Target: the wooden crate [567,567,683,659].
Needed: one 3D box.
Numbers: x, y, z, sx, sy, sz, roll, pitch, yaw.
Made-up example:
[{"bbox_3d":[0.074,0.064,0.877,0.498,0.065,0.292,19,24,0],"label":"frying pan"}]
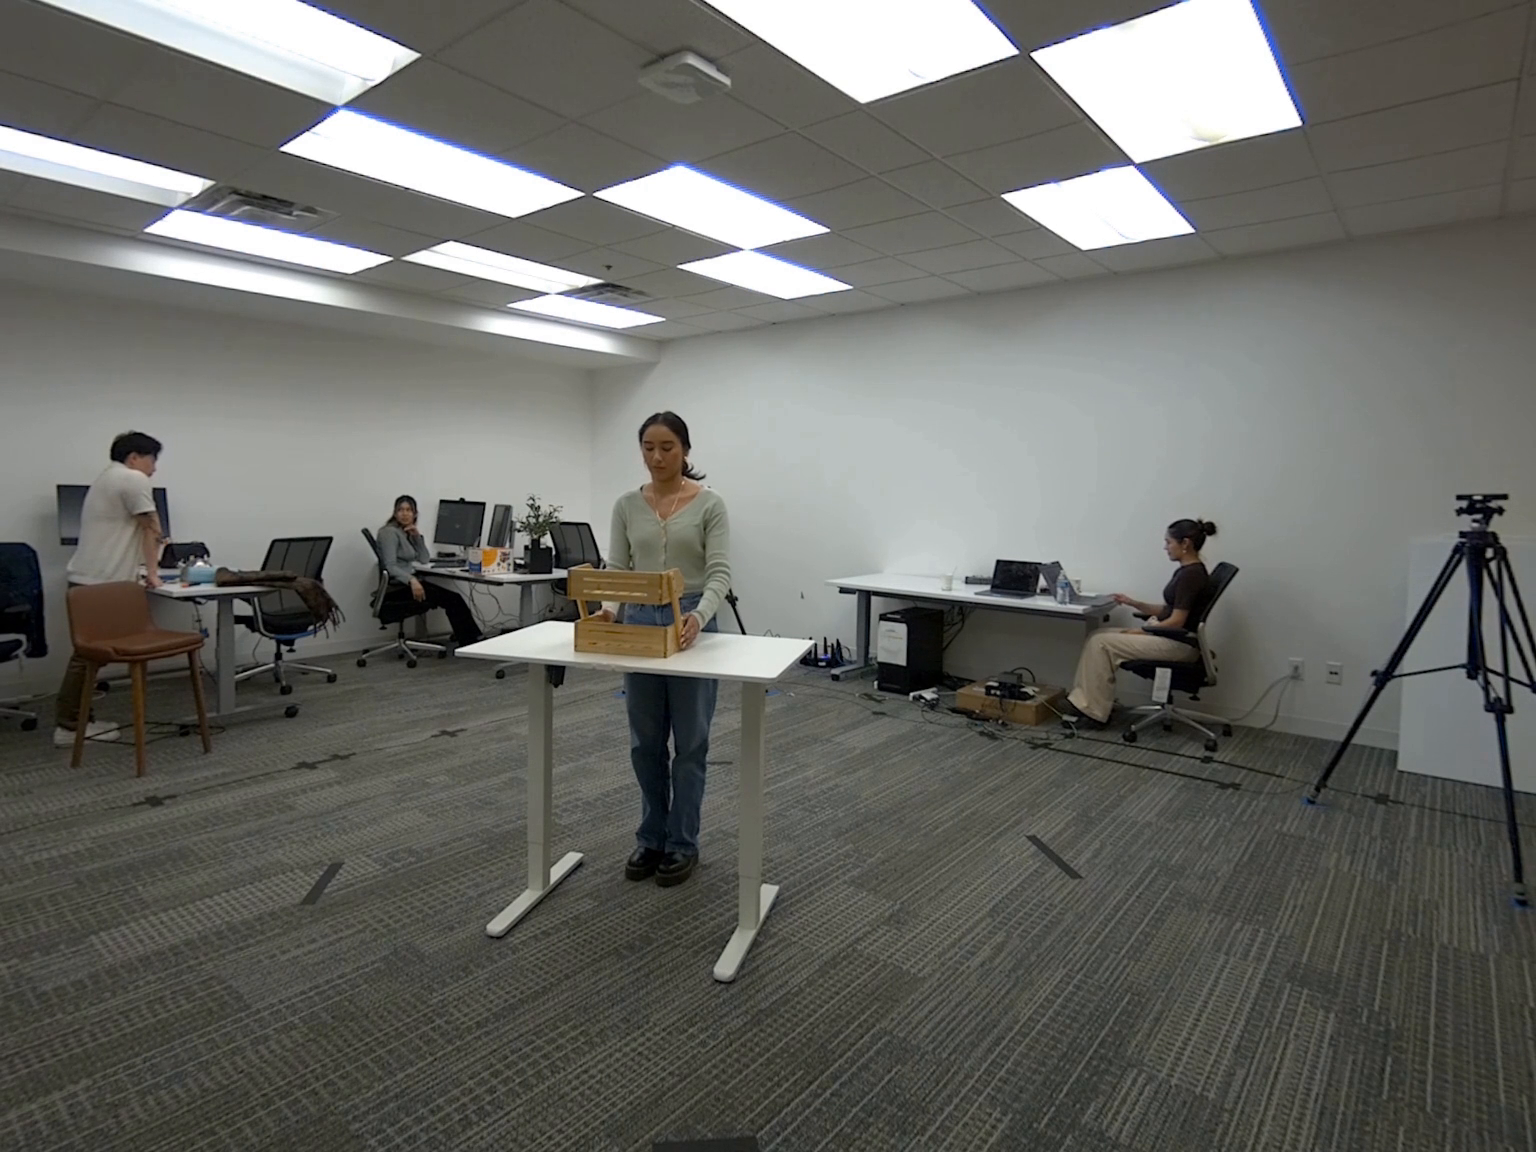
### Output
[{"bbox_3d":[-0.436,0.091,2.656,0.330,0.272,0.299,2,6,14],"label":"wooden crate"}]
